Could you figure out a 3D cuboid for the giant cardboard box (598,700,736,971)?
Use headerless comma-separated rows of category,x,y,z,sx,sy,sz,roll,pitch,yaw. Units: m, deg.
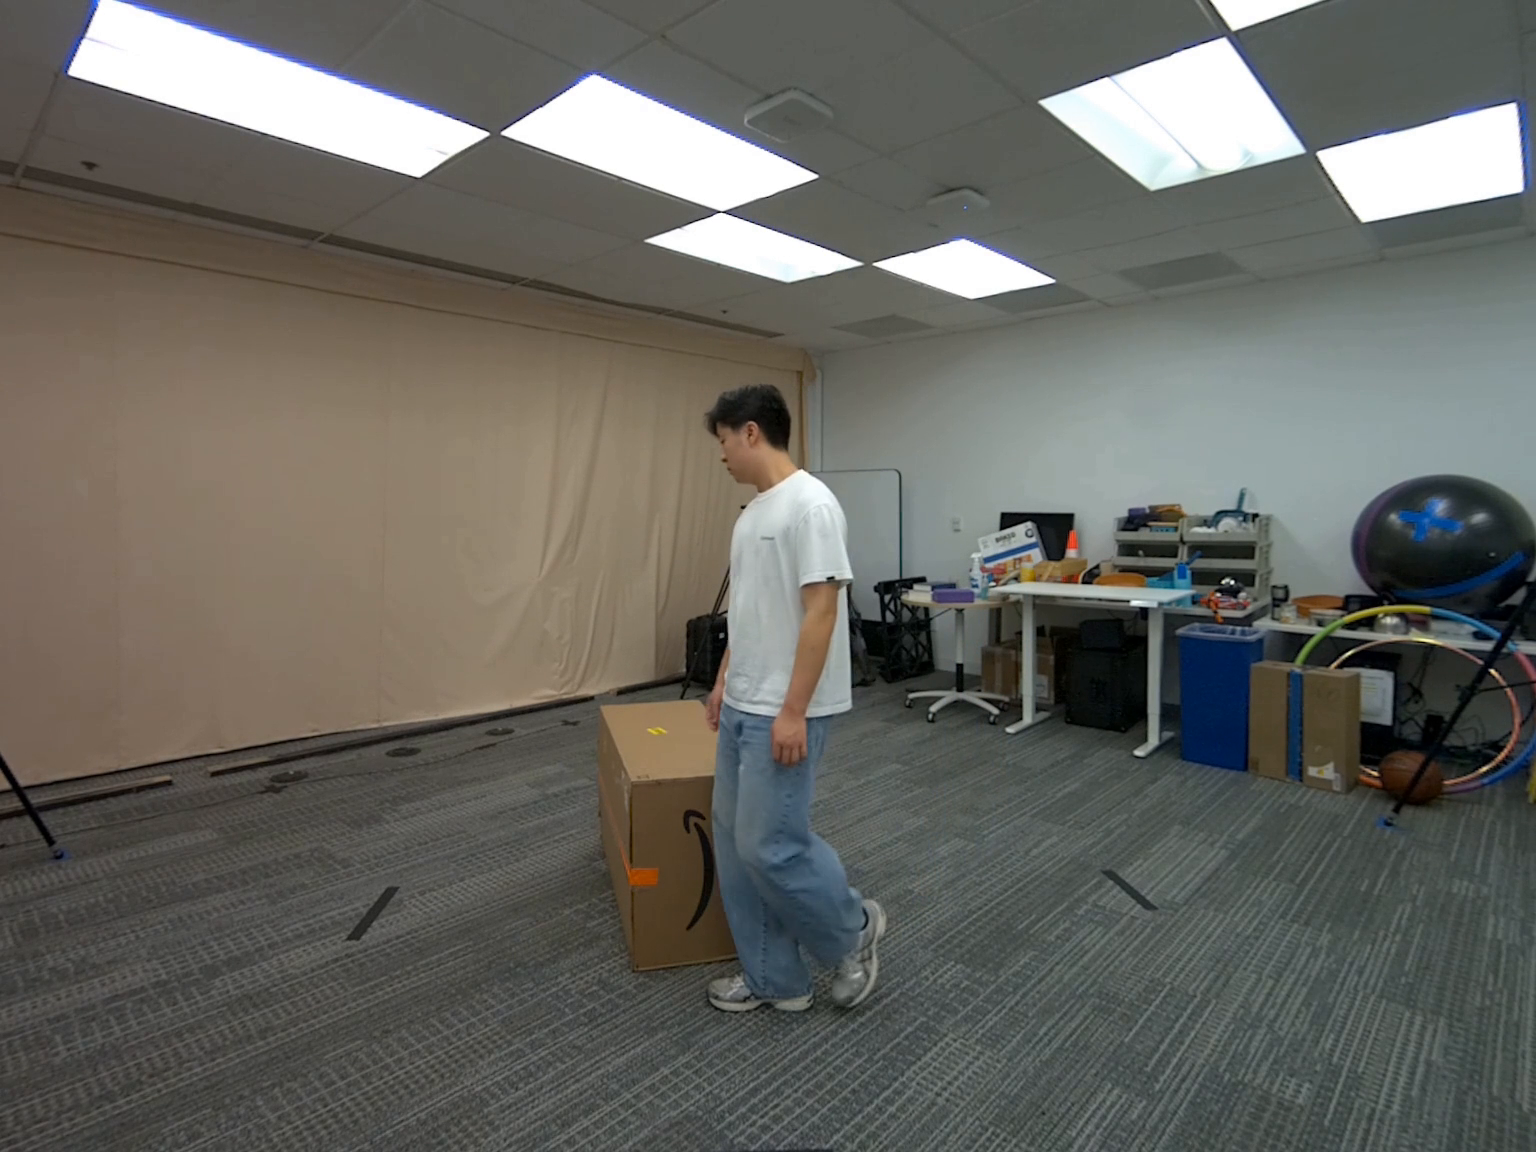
giant cardboard box,-0.351,0.852,3.040,0.420,0.576,1.044,-1,4,-16
